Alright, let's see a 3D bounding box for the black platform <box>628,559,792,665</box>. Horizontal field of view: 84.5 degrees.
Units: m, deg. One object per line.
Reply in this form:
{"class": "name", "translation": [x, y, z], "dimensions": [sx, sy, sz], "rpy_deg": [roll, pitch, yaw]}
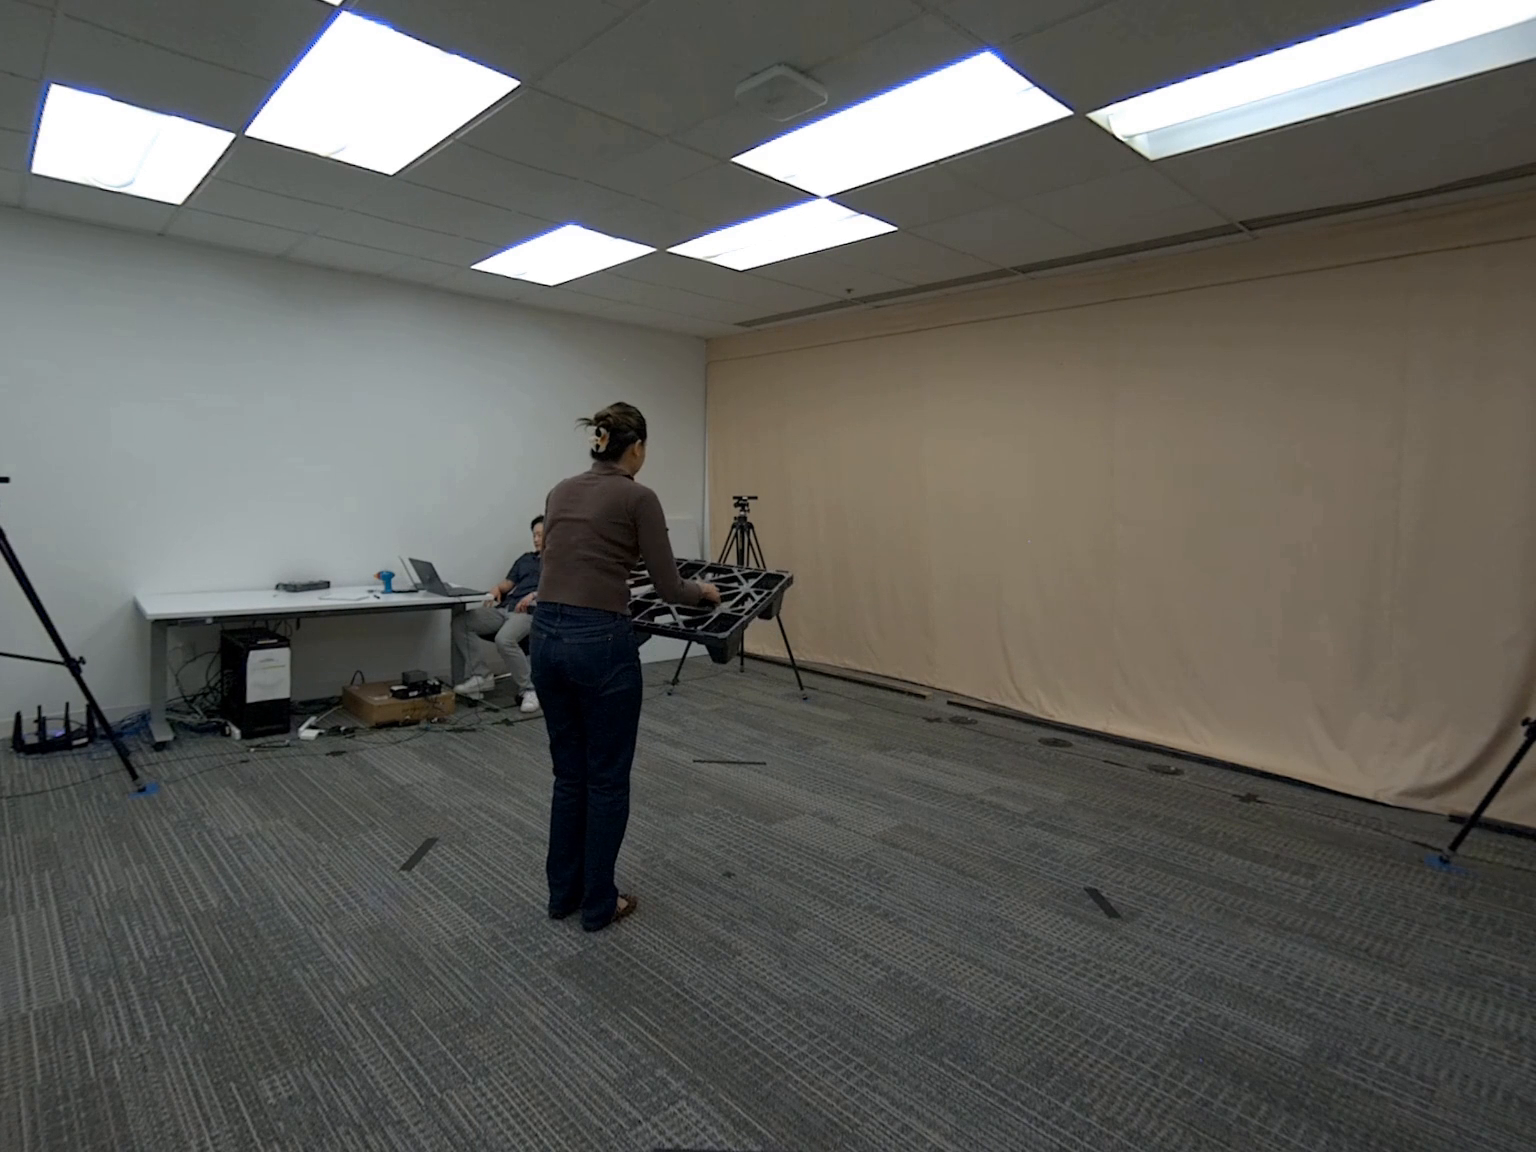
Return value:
{"class": "black platform", "translation": [-0.389, 0.105, 3.082], "dimensions": [0.822, 0.141, 0.601], "rpy_deg": [7, 22, 25]}
